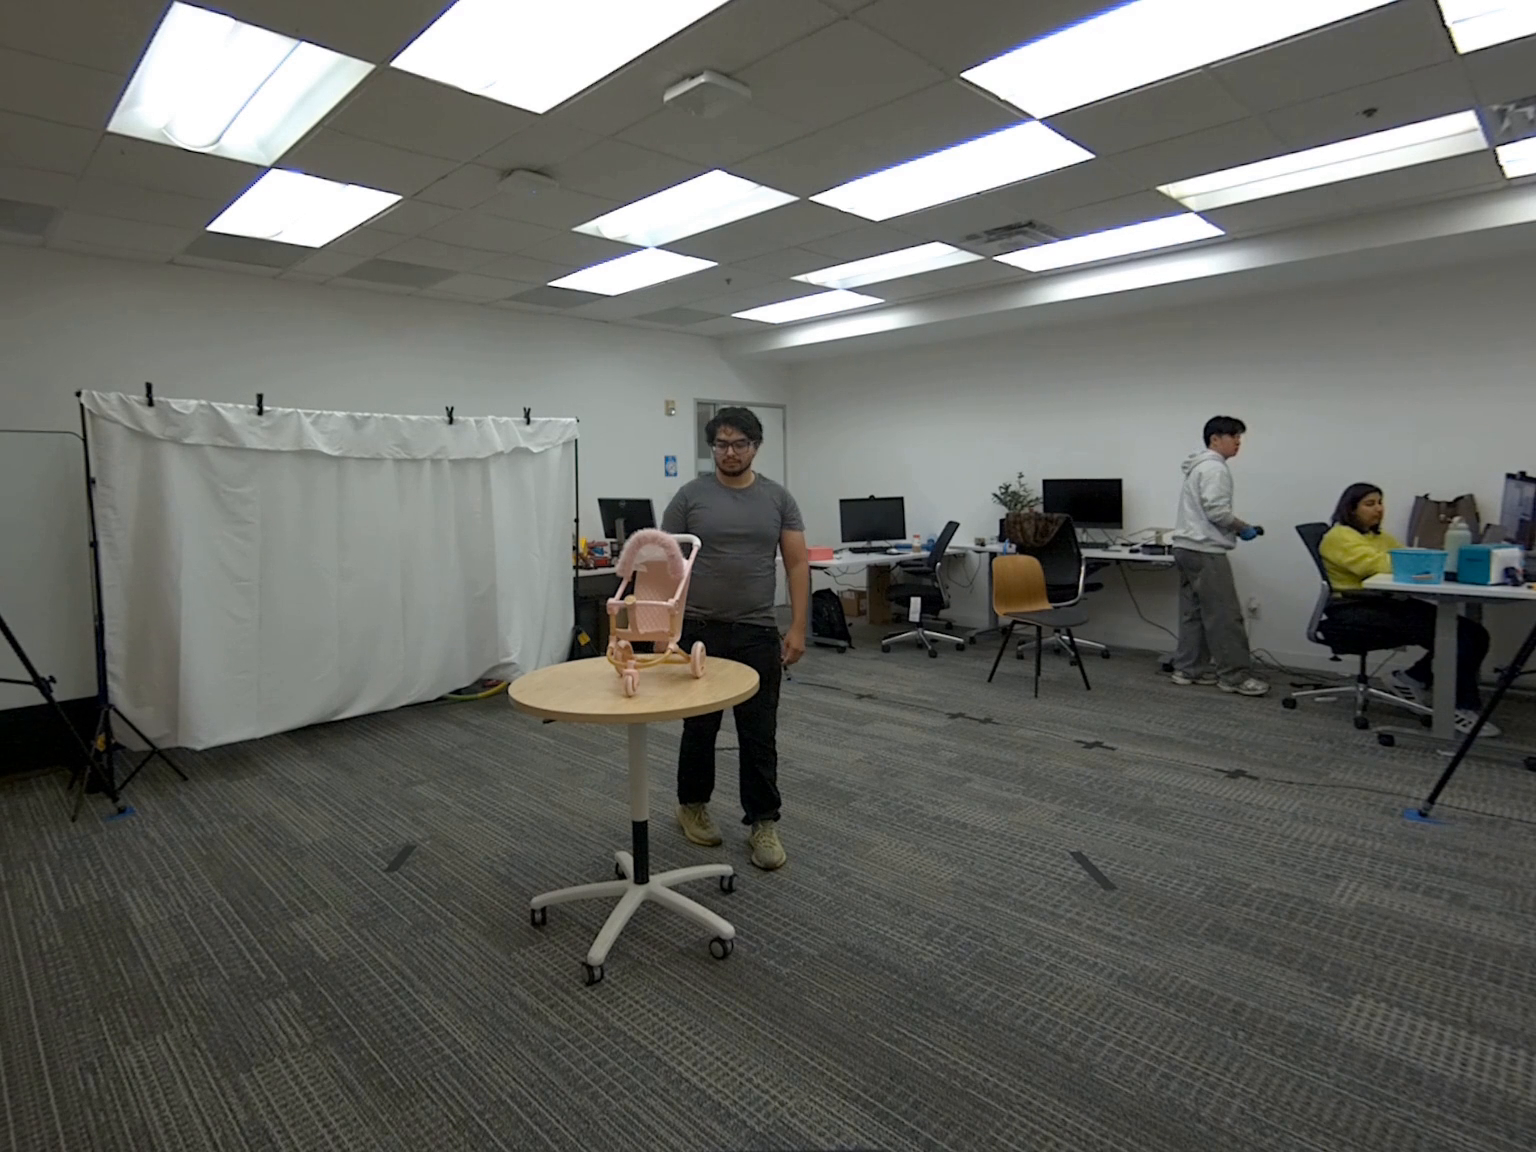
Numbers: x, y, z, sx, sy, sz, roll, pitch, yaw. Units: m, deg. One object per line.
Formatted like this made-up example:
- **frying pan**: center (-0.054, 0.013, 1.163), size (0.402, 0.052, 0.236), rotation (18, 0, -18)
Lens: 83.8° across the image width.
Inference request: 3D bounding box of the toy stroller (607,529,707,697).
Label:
- **toy stroller**: center (-0.360, 0.103, 2.603), size (0.286, 0.540, 0.332), rotation (0, -11, 17)
